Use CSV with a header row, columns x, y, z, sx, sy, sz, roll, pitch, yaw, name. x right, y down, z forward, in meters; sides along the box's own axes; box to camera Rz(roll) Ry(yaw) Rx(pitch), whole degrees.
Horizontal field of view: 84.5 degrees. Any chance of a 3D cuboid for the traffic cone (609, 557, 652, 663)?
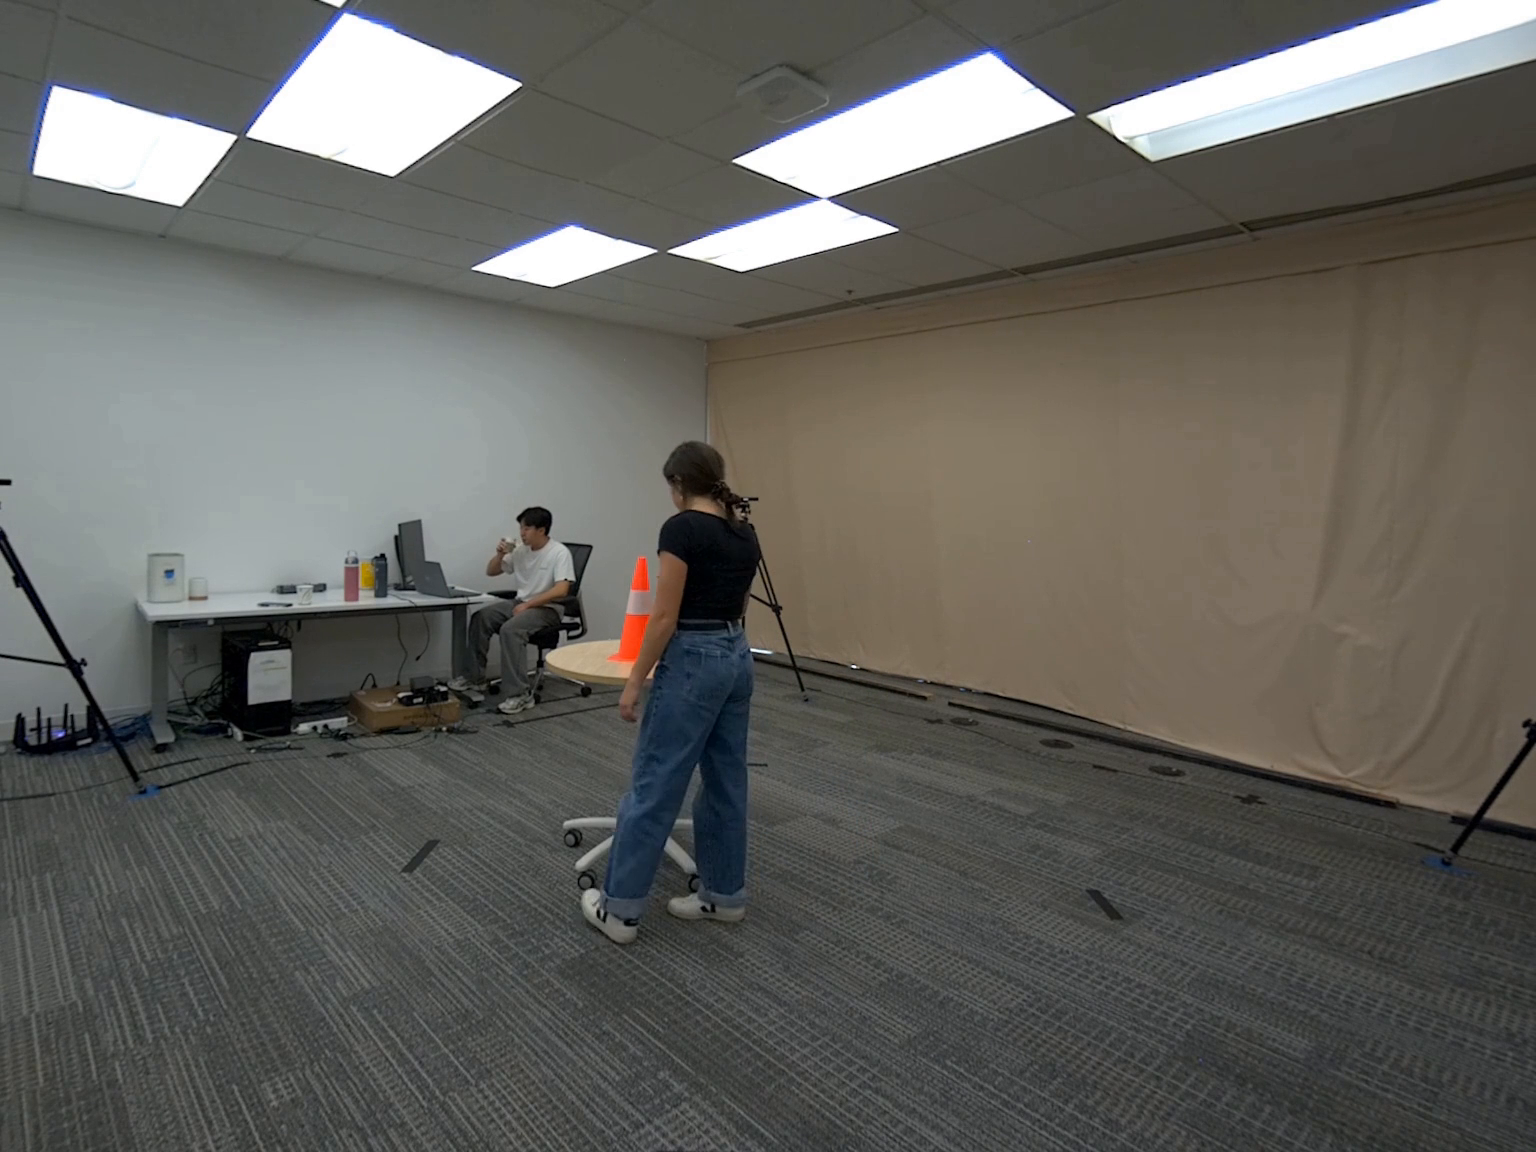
x,y,z,sx,sy,sz,roll,pitch,yaw,name
-0.490,0.125,3.189,0.204,0.383,0.204,2,3,6,traffic cone
